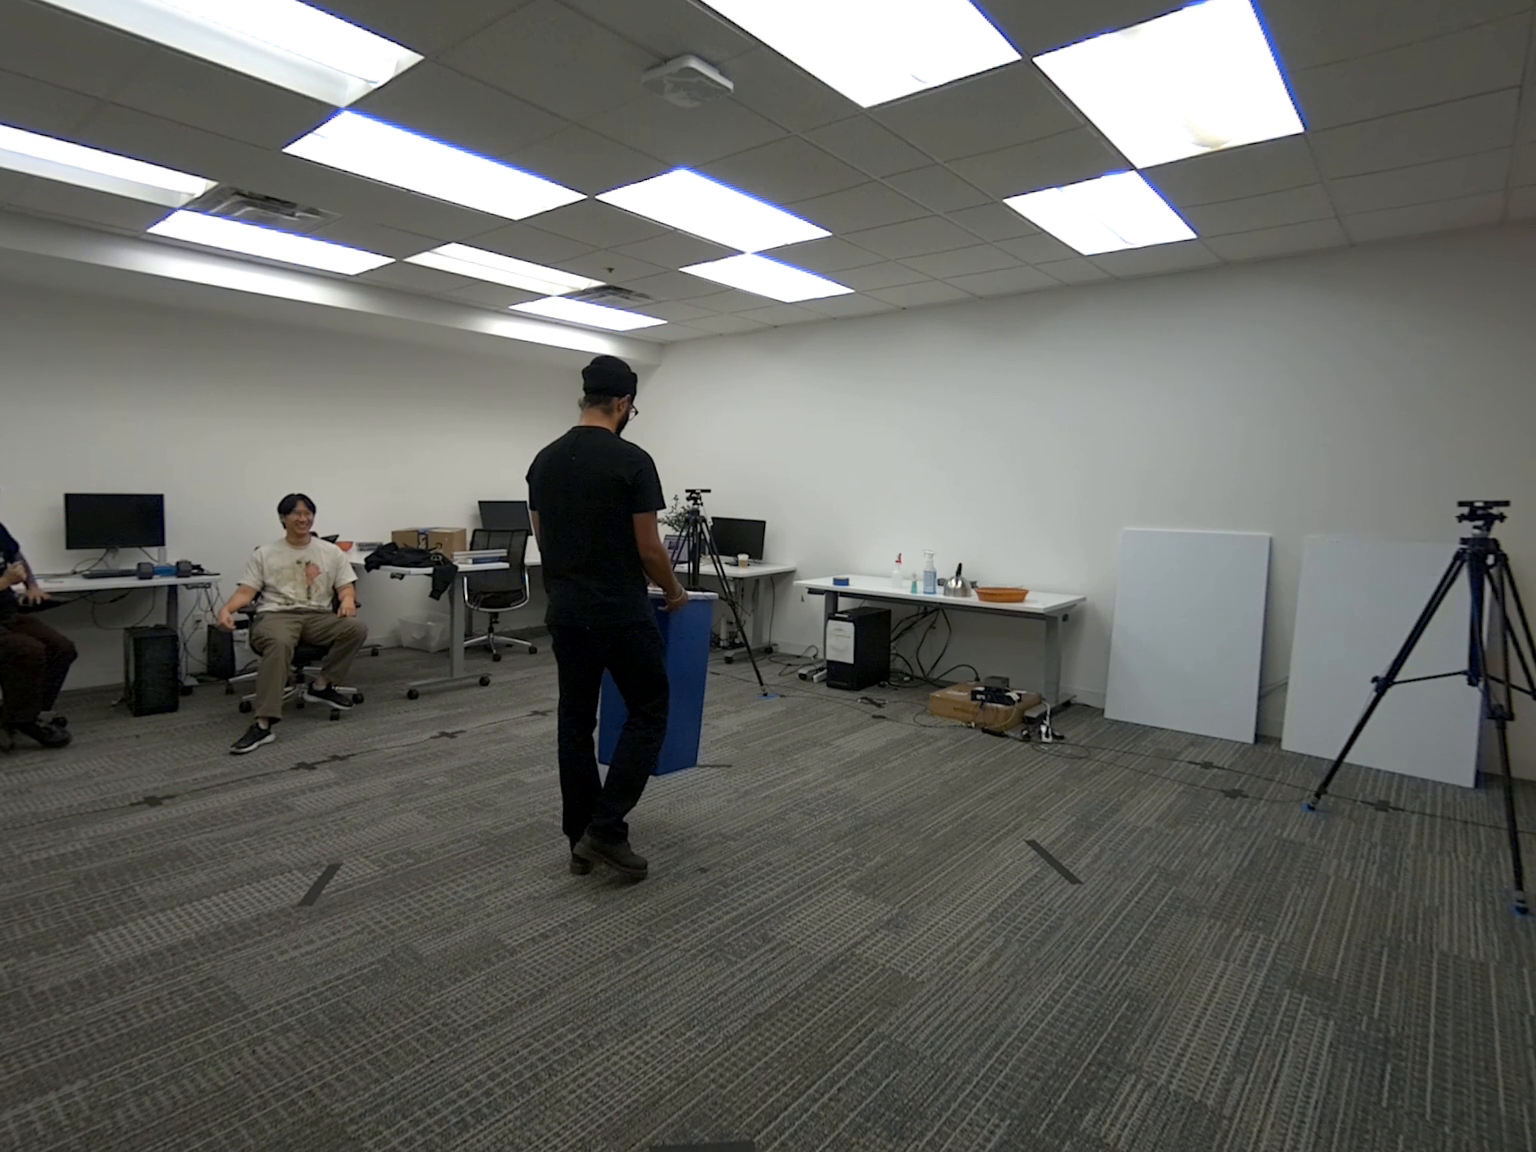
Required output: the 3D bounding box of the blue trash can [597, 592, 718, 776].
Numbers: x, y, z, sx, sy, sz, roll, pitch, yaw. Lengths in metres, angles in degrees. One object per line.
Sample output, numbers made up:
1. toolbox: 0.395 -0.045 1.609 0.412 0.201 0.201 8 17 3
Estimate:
1. blue trash can: -0.477 0.417 3.501 0.389 0.715 0.362 3 -3 30
